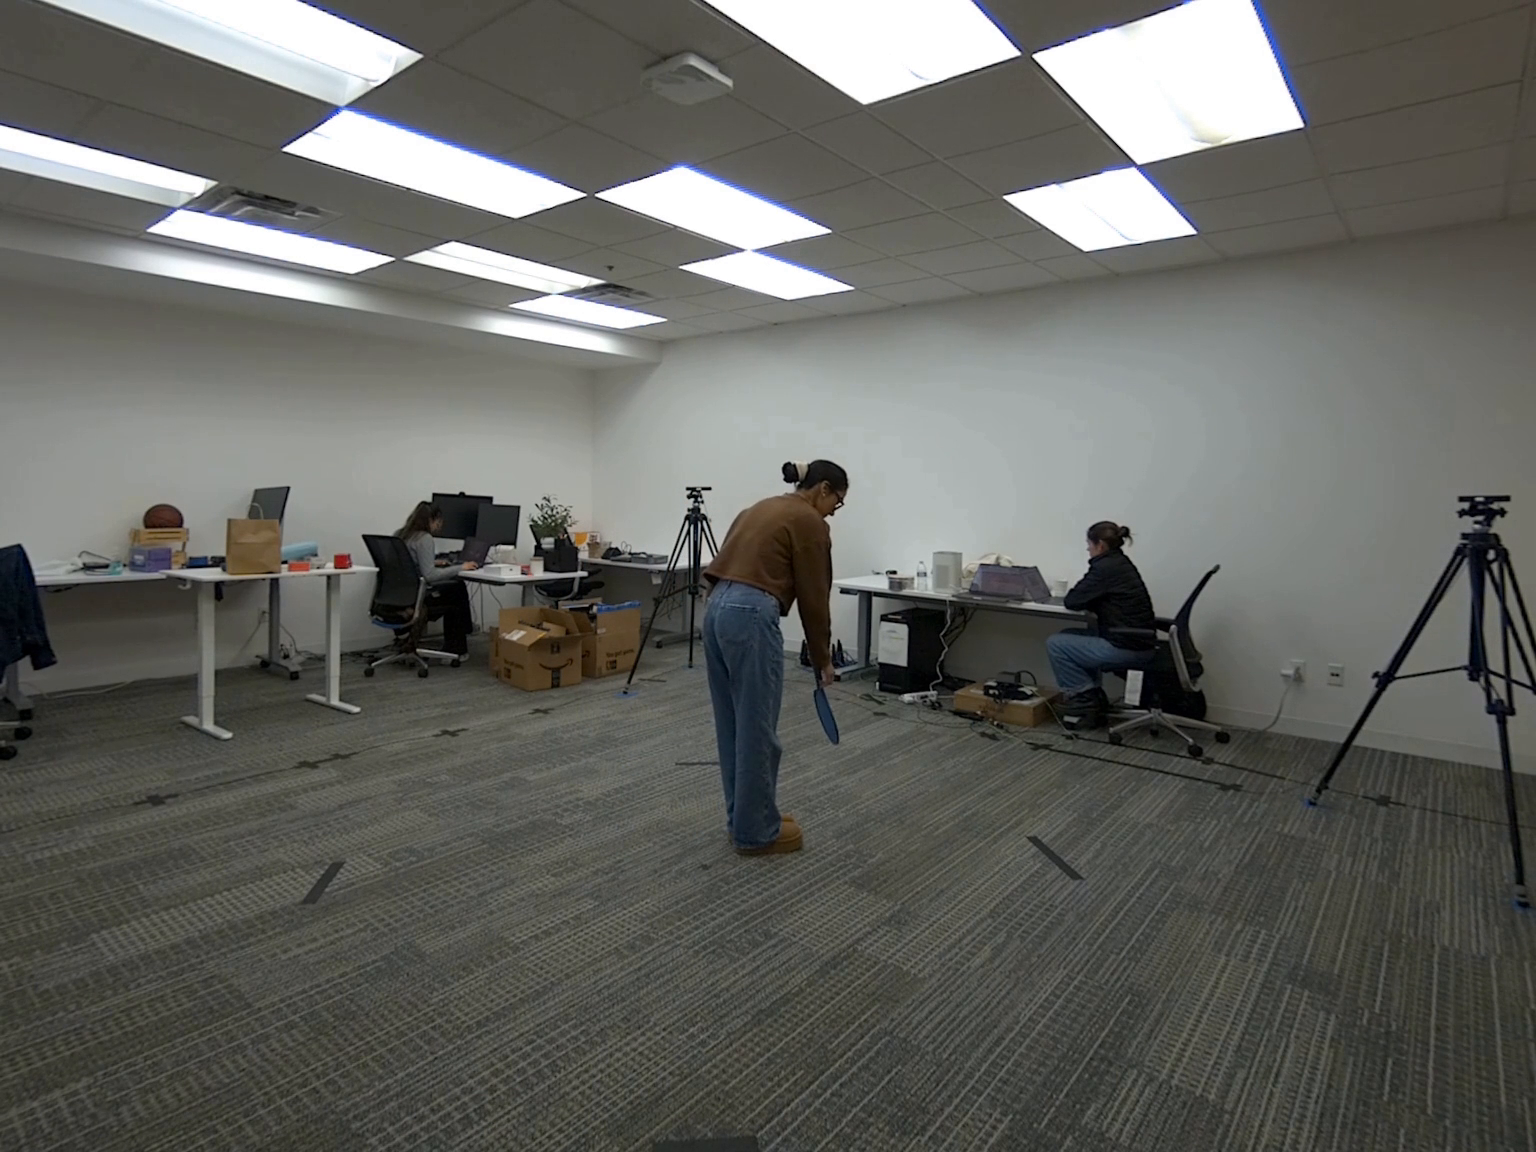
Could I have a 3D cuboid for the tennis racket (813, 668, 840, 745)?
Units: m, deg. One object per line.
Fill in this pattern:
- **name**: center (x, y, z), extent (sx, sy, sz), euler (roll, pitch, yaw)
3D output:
- **tennis racket**: center (0.197, 0.499, 3.460), extent (0.031, 0.419, 0.222), euler (-20, 33, -11)
